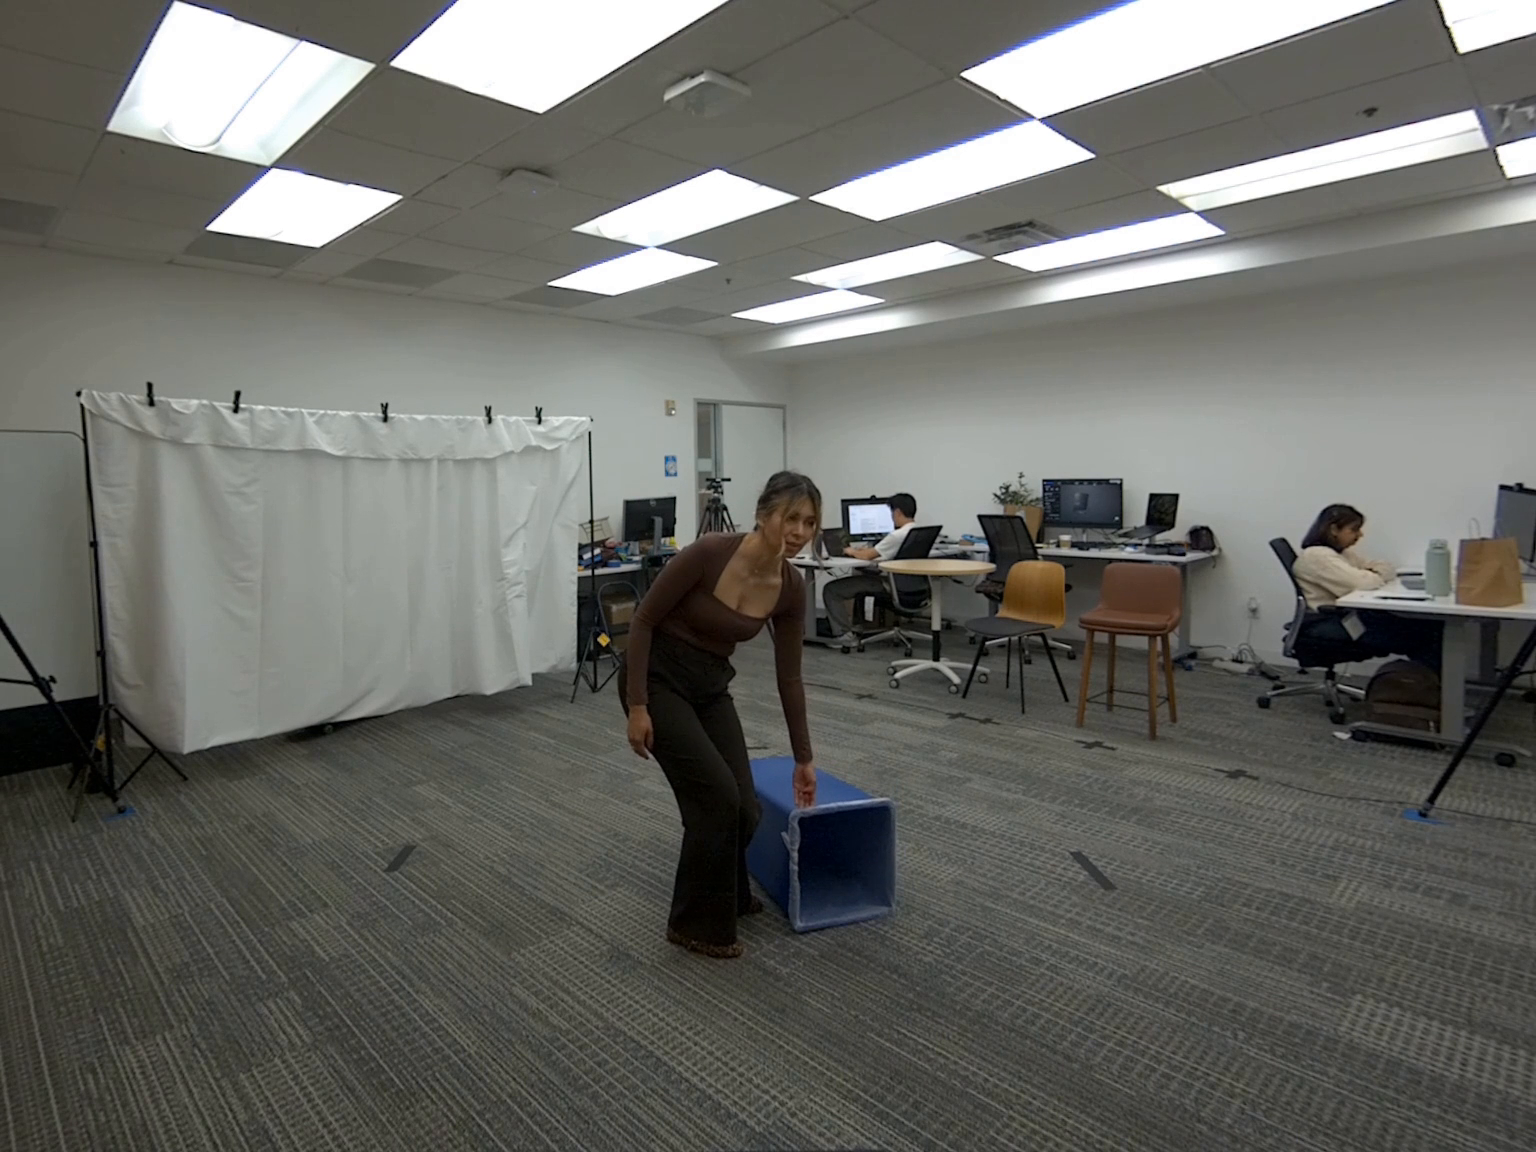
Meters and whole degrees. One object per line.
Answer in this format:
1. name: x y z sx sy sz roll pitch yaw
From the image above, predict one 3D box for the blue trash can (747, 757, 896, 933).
1. blue trash can: 0.115 0.876 2.997 0.367 0.377 0.729 -2 4 -22
